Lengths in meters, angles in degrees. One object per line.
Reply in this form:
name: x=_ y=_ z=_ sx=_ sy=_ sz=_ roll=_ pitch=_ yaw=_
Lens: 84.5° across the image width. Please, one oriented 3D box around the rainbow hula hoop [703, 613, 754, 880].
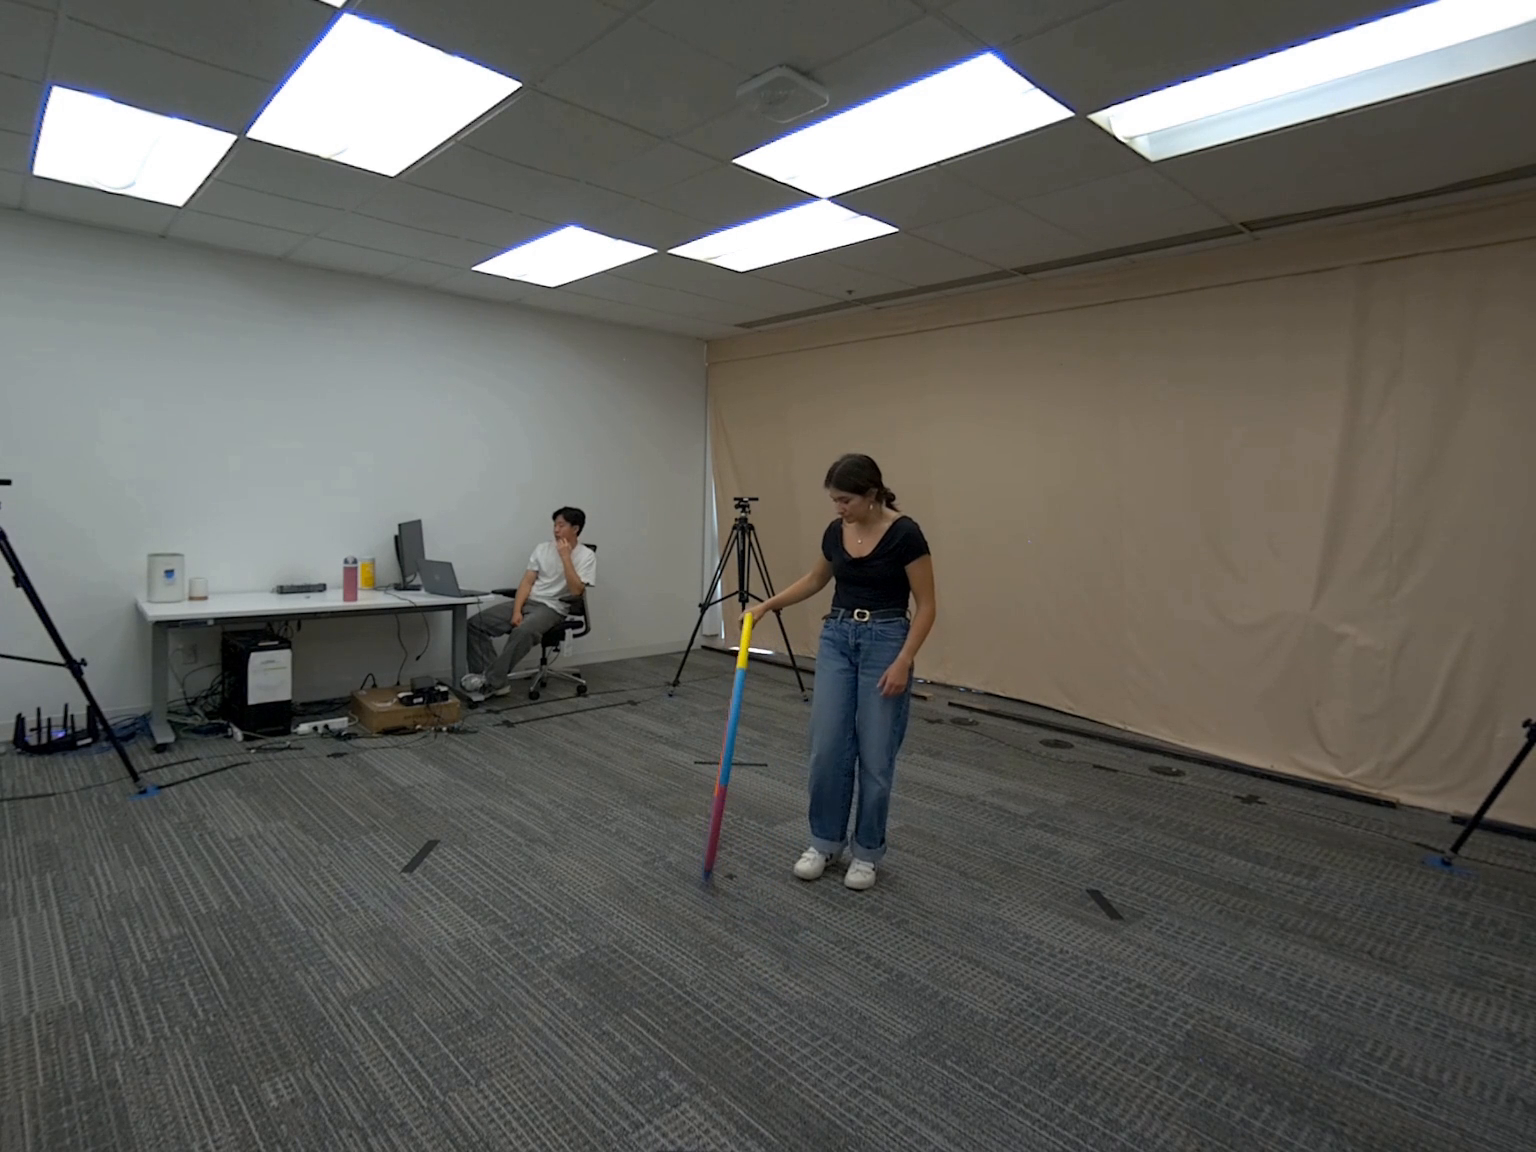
rainbow hula hoop: x=-0.147 y=0.629 z=3.156 sx=0.035 sy=0.976 sz=0.981 roll=10 pitch=4 yaw=-2
